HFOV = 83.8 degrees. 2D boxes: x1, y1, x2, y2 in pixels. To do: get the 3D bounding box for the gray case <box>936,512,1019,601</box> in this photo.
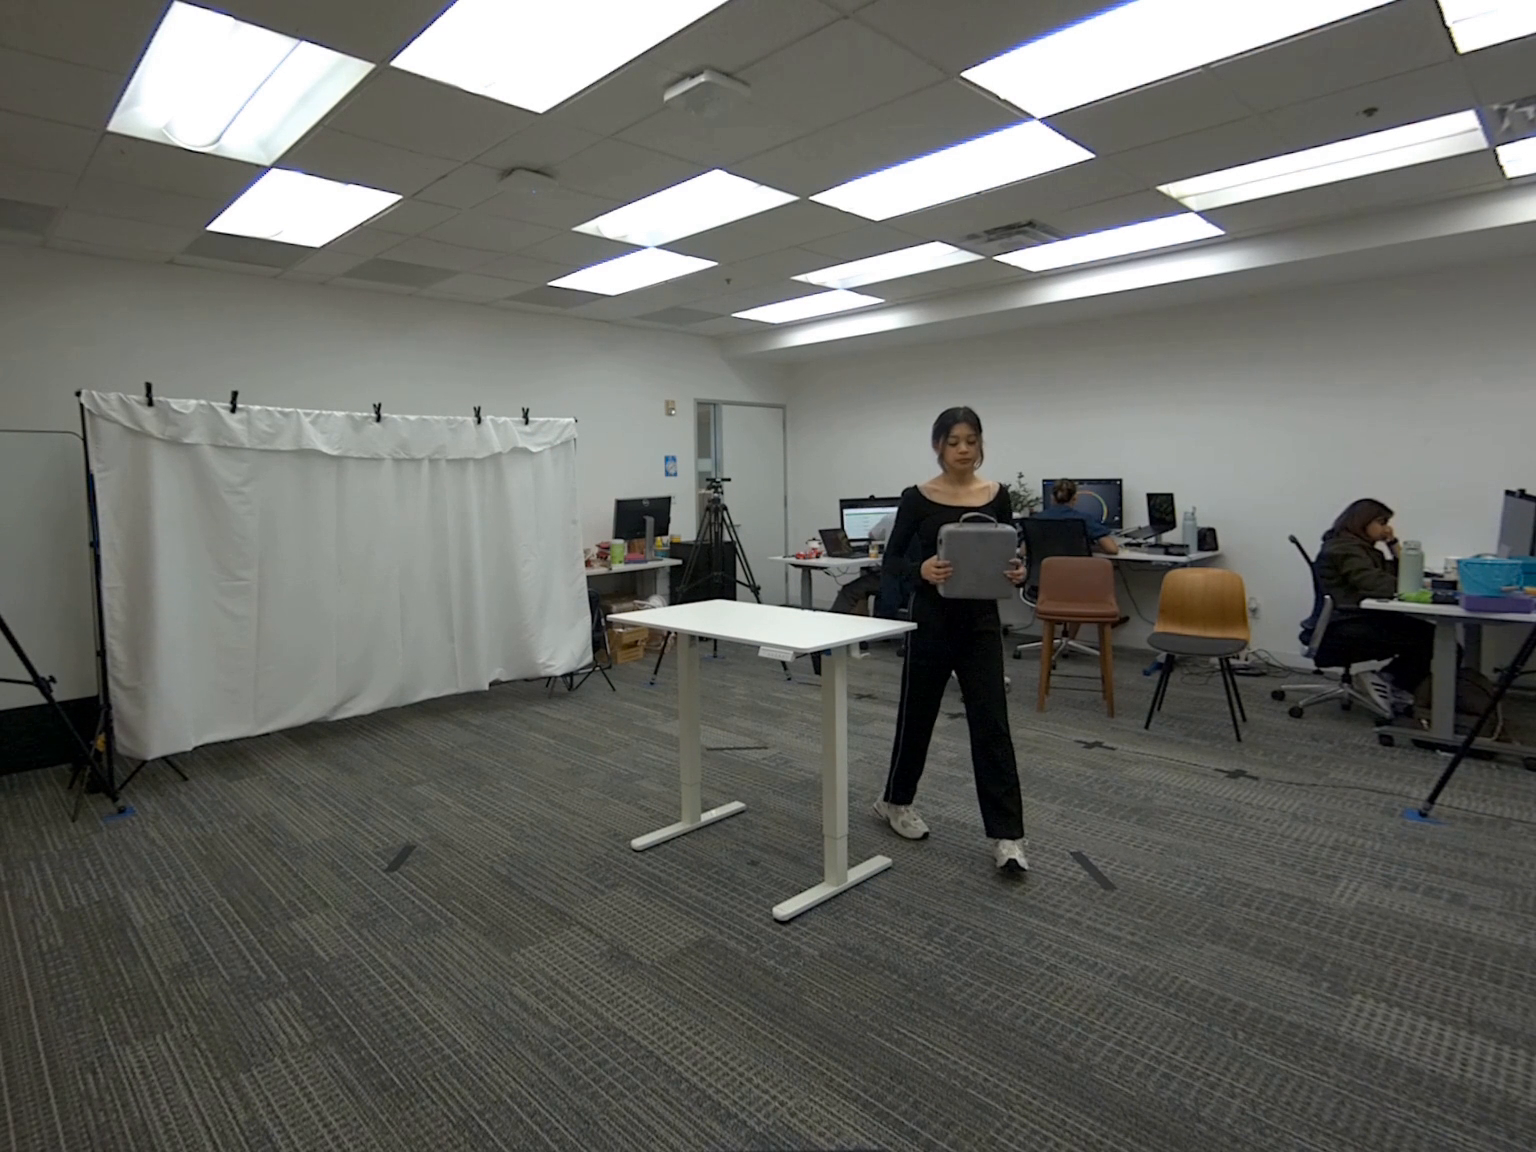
[{"bbox_3d":[0.734,-0.051,2.929,0.259,0.258,0.105,0,12,7],"label":"gray case"}]
